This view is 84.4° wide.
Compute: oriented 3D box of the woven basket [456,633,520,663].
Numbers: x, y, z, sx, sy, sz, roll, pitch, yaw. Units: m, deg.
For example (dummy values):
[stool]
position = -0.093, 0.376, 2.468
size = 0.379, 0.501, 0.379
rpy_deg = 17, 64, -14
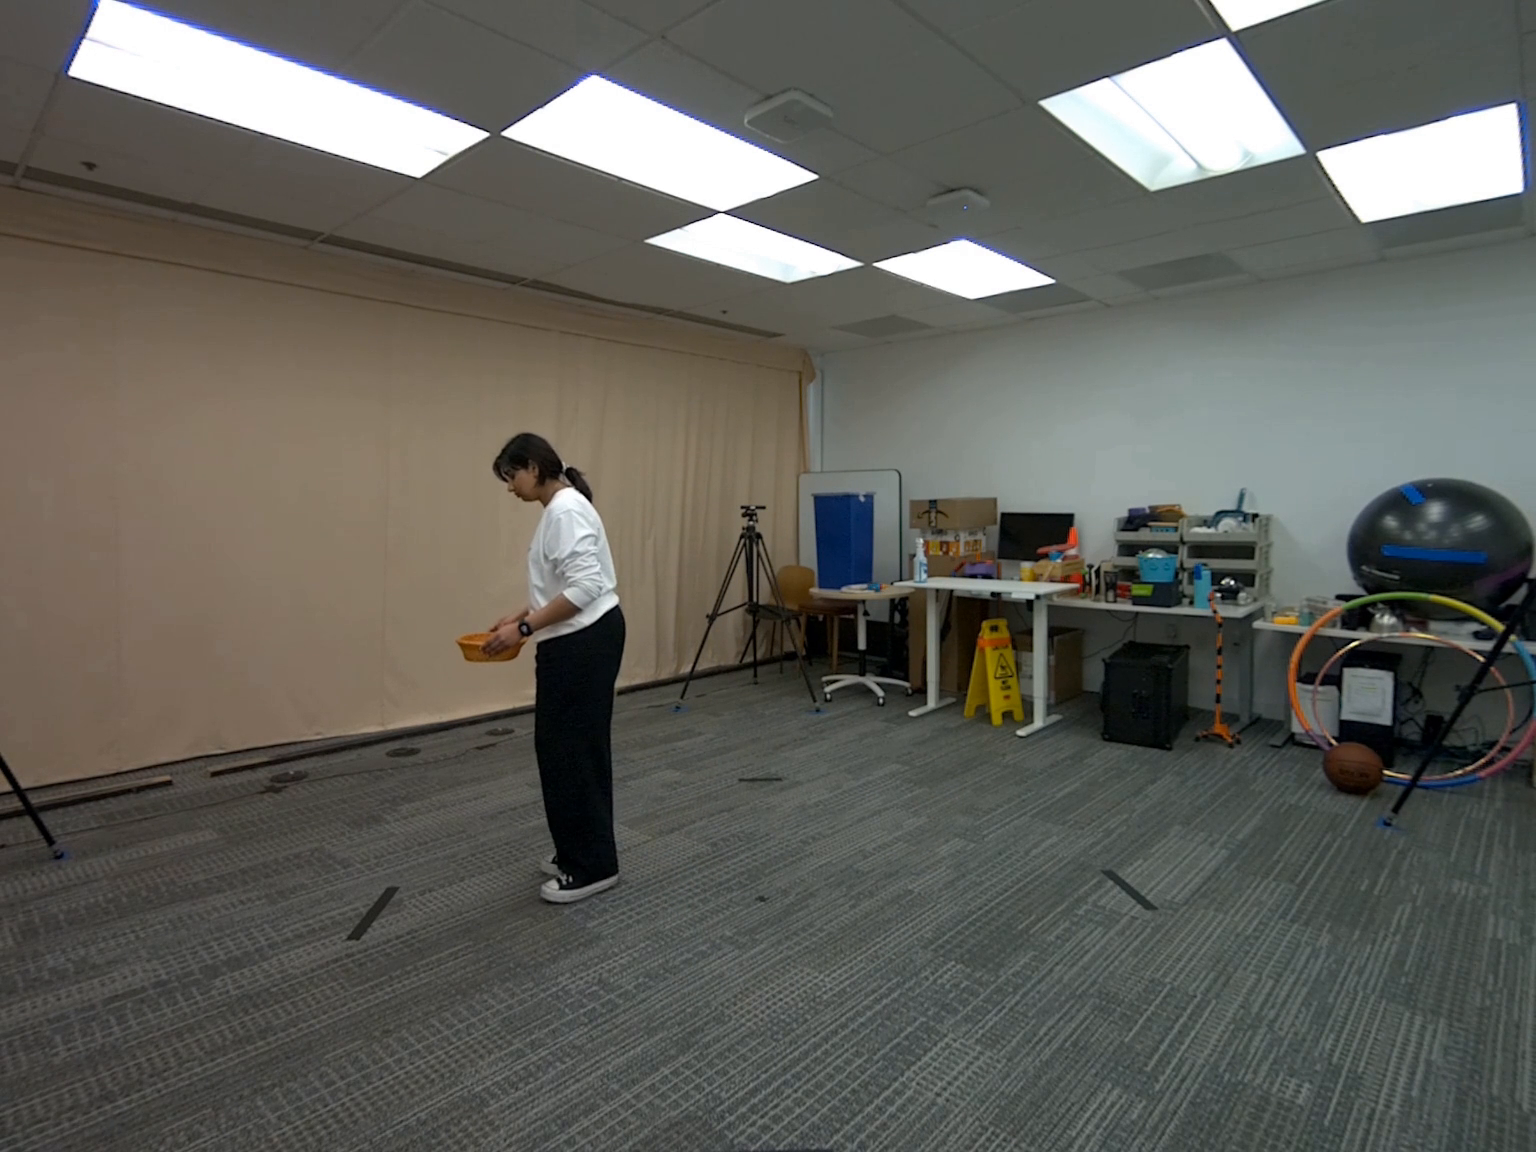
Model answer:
[woven basket]
position = -1.003, 0.261, 3.074
size = 0.250, 0.073, 0.354
rpy_deg = 0, 1, -11
